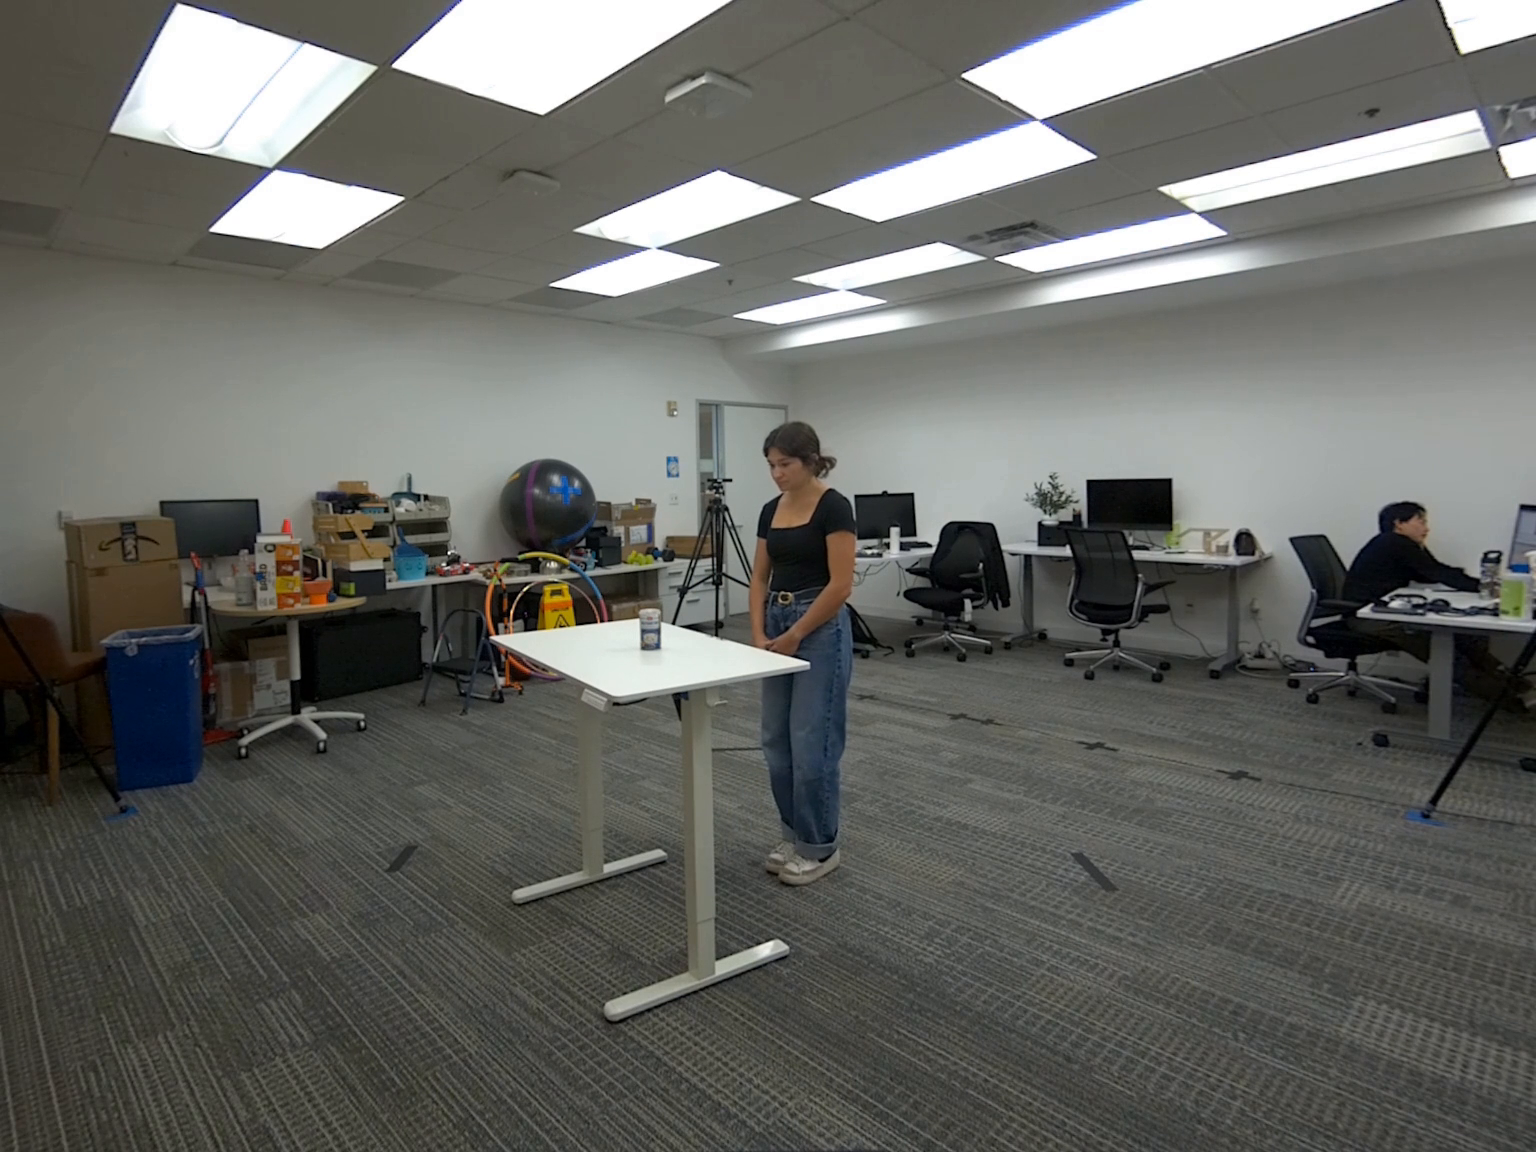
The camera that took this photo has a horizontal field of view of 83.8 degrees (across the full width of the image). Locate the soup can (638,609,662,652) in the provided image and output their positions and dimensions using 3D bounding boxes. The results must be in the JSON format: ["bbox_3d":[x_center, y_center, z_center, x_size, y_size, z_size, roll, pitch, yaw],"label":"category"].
[{"bbox_3d":[-0.363,0.169,2.626,0.067,0.121,0.067,-1,4,-2],"label":"soup can"}]
